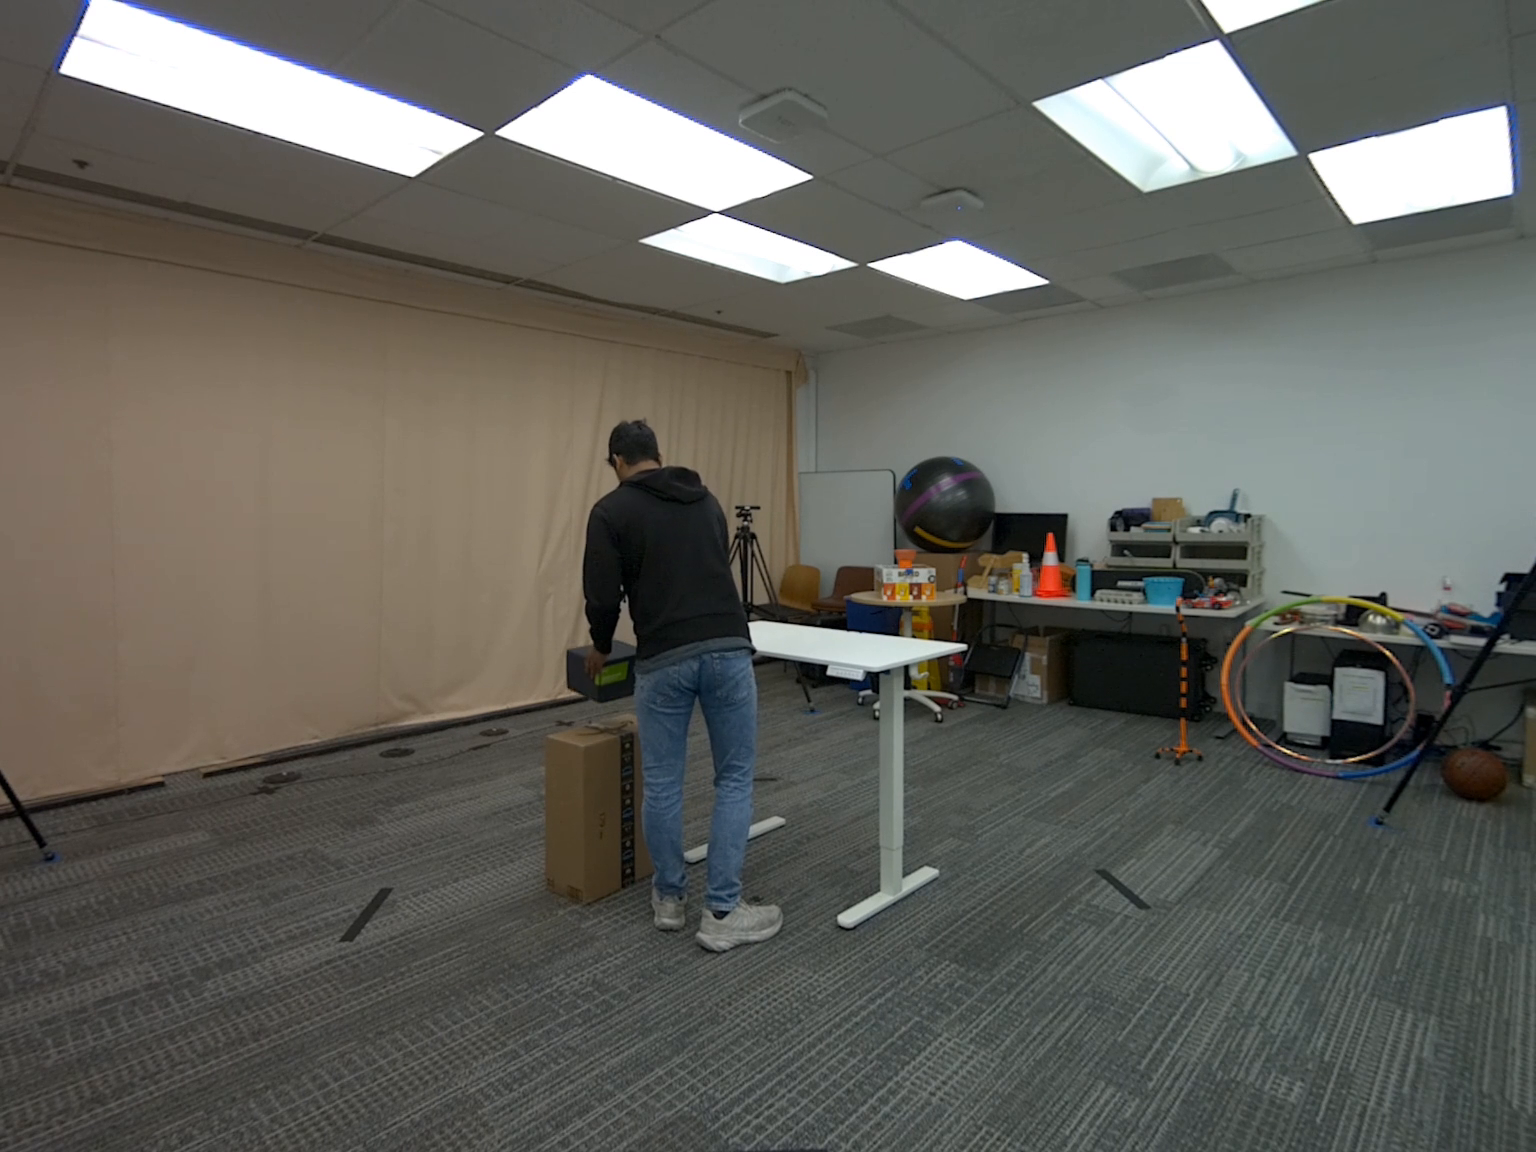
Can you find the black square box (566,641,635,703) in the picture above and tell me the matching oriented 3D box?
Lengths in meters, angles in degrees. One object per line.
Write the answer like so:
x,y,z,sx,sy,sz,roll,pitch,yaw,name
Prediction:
-0.592,0.347,3.161,0.225,0.155,0.221,12,14,44,black square box
